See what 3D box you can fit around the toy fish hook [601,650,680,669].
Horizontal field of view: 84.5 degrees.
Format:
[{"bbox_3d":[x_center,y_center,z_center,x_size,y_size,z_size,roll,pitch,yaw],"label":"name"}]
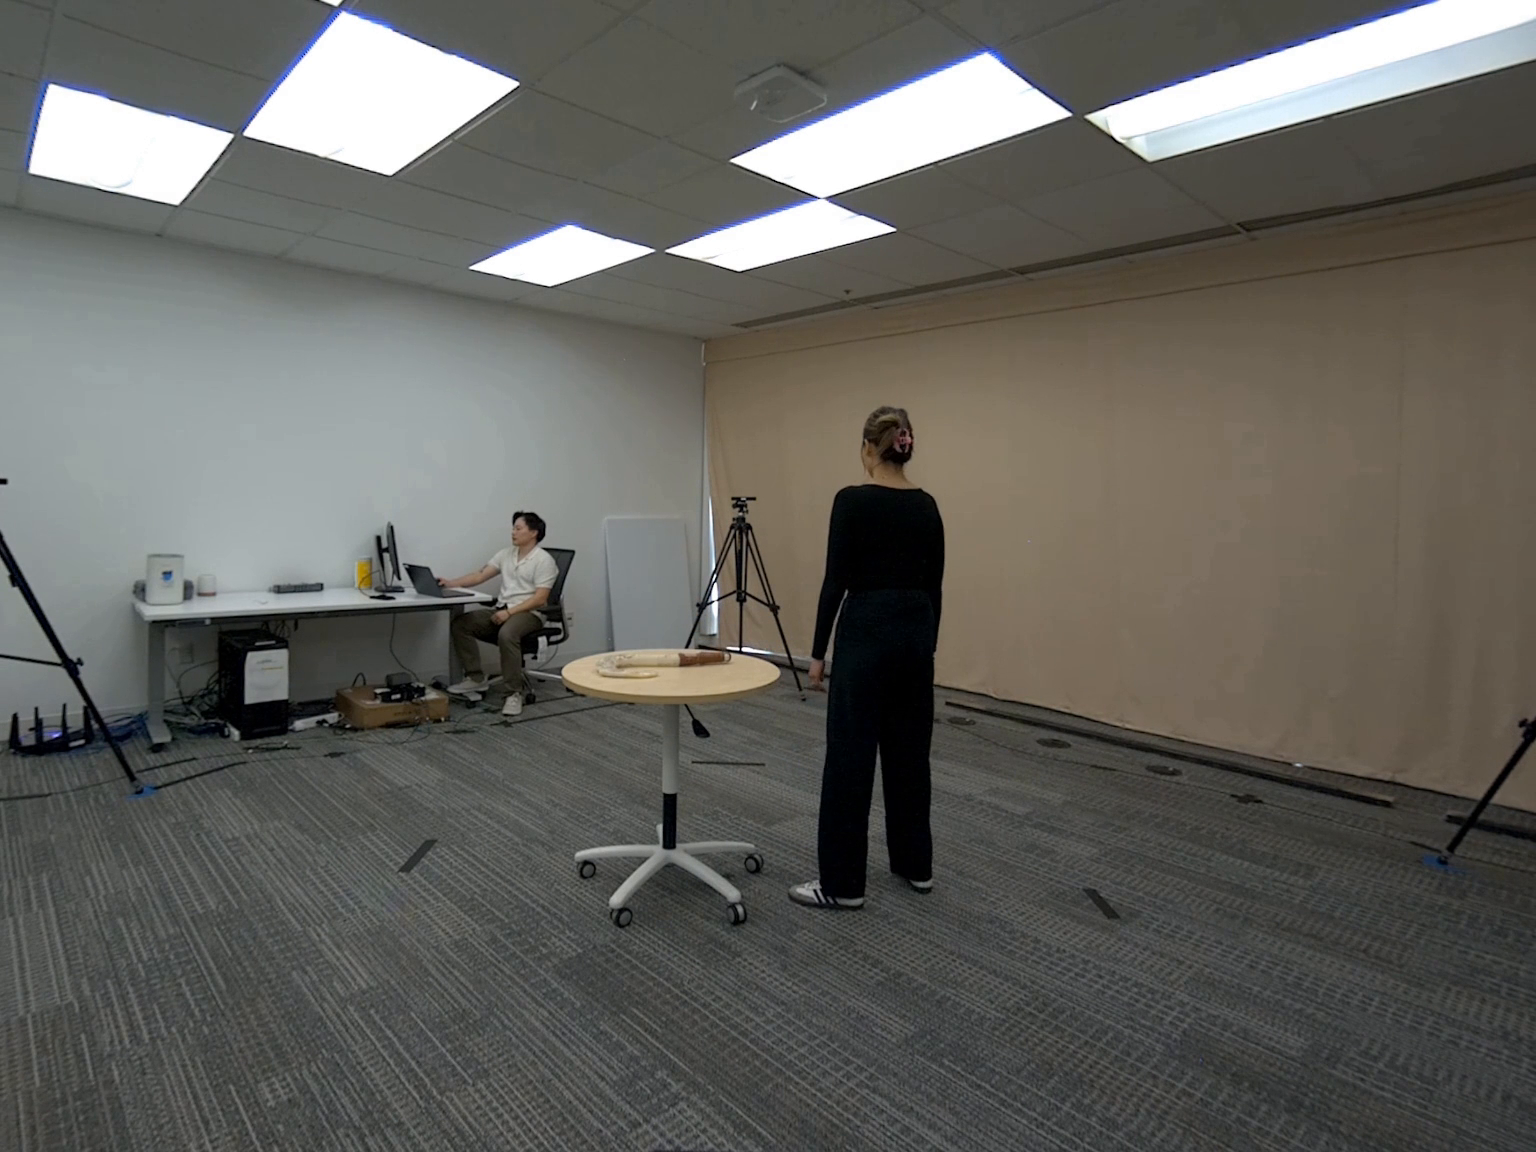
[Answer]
[{"bbox_3d":[-0.346,0.321,2.958,0.499,0.048,0.229,-3,11,-20],"label":"toy fish hook"}]
